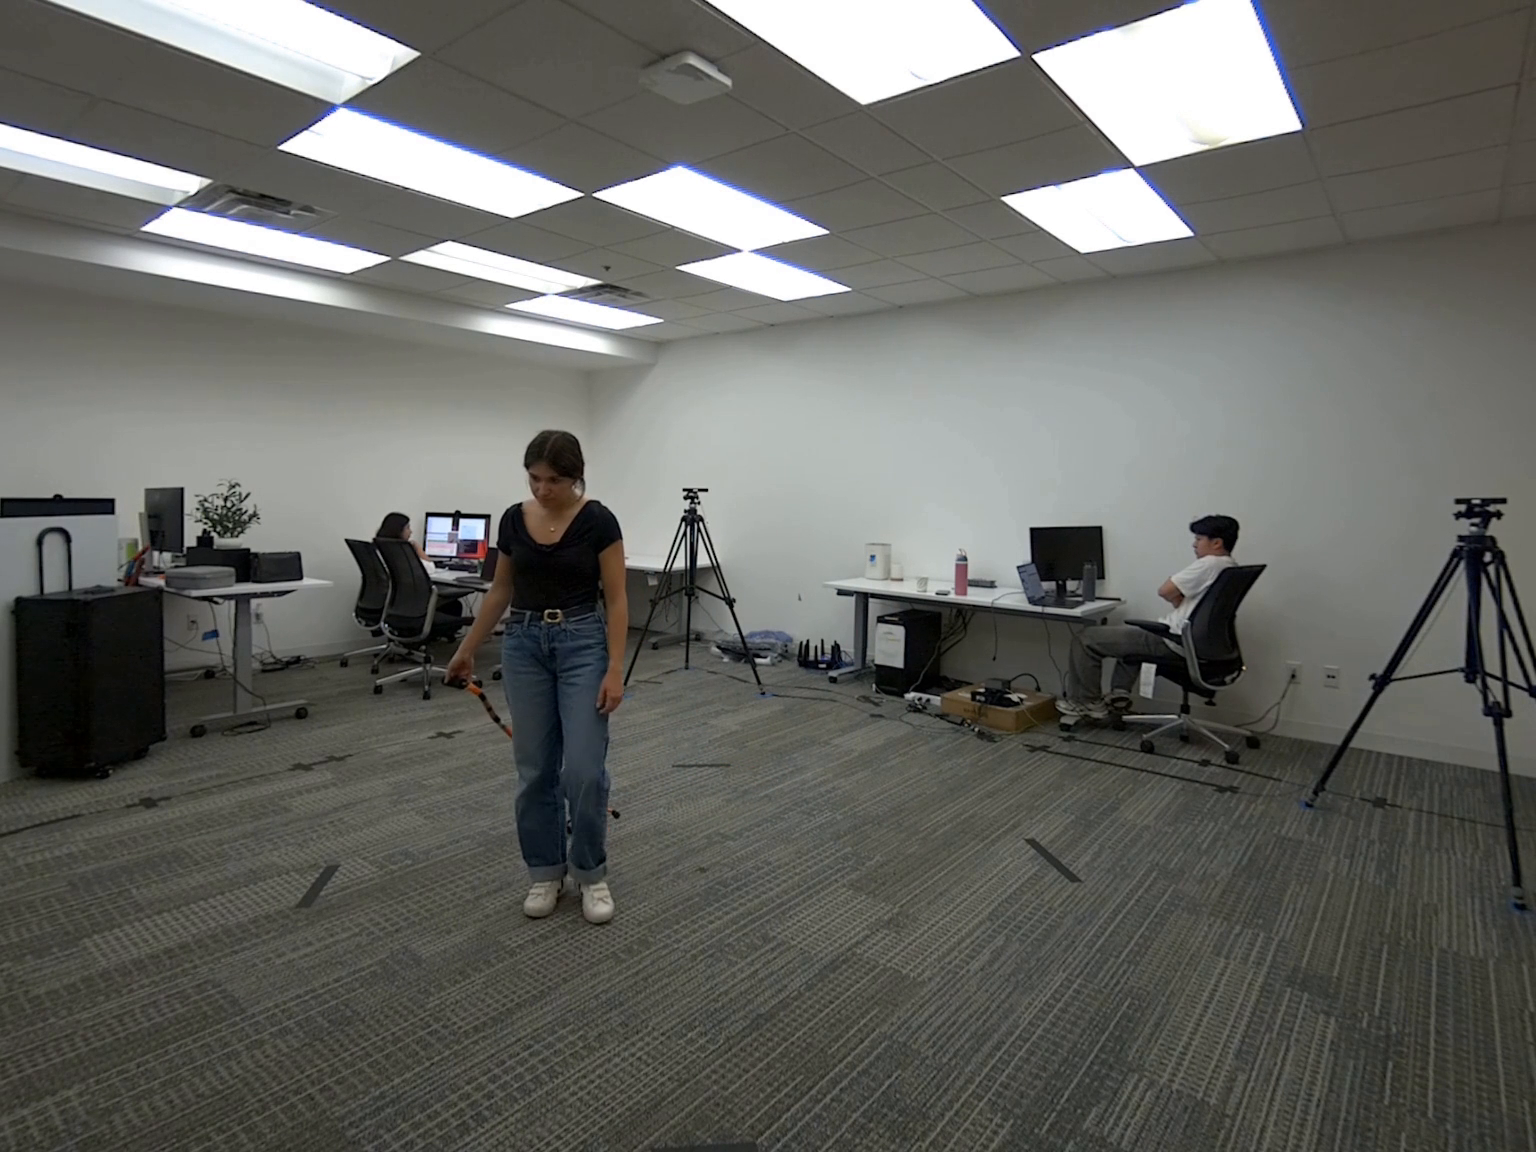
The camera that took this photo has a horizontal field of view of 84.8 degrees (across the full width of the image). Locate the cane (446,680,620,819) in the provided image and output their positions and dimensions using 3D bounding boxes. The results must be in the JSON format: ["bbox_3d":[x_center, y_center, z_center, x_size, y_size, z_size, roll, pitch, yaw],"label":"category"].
[{"bbox_3d":[-0.875,0.672,3.143,0.213,0.153,0.873,2,-42,38],"label":"cane"}]
